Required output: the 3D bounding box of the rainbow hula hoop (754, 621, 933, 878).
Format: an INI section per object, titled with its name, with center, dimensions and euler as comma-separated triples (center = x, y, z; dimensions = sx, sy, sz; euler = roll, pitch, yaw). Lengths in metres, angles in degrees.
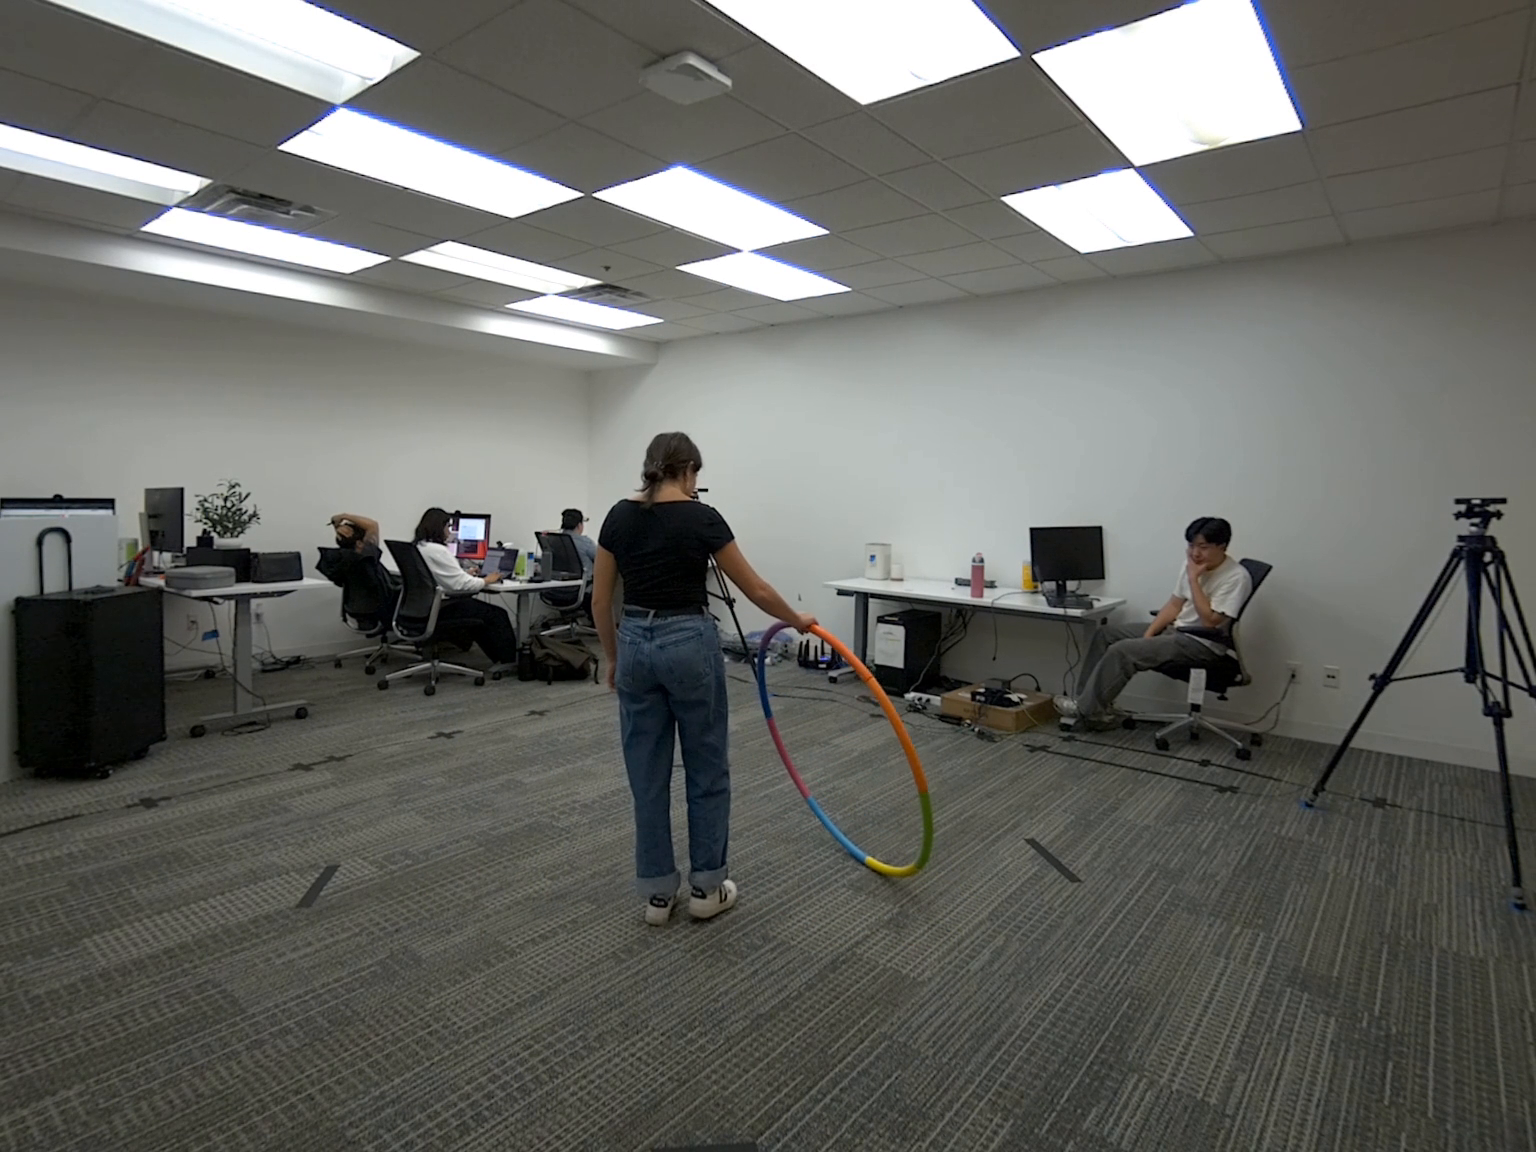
[rainbow hula hoop]
center = 0.244, 0.608, 3.078
dimensions = 0.035, 0.963, 1.008
euler = -23, 15, -26
